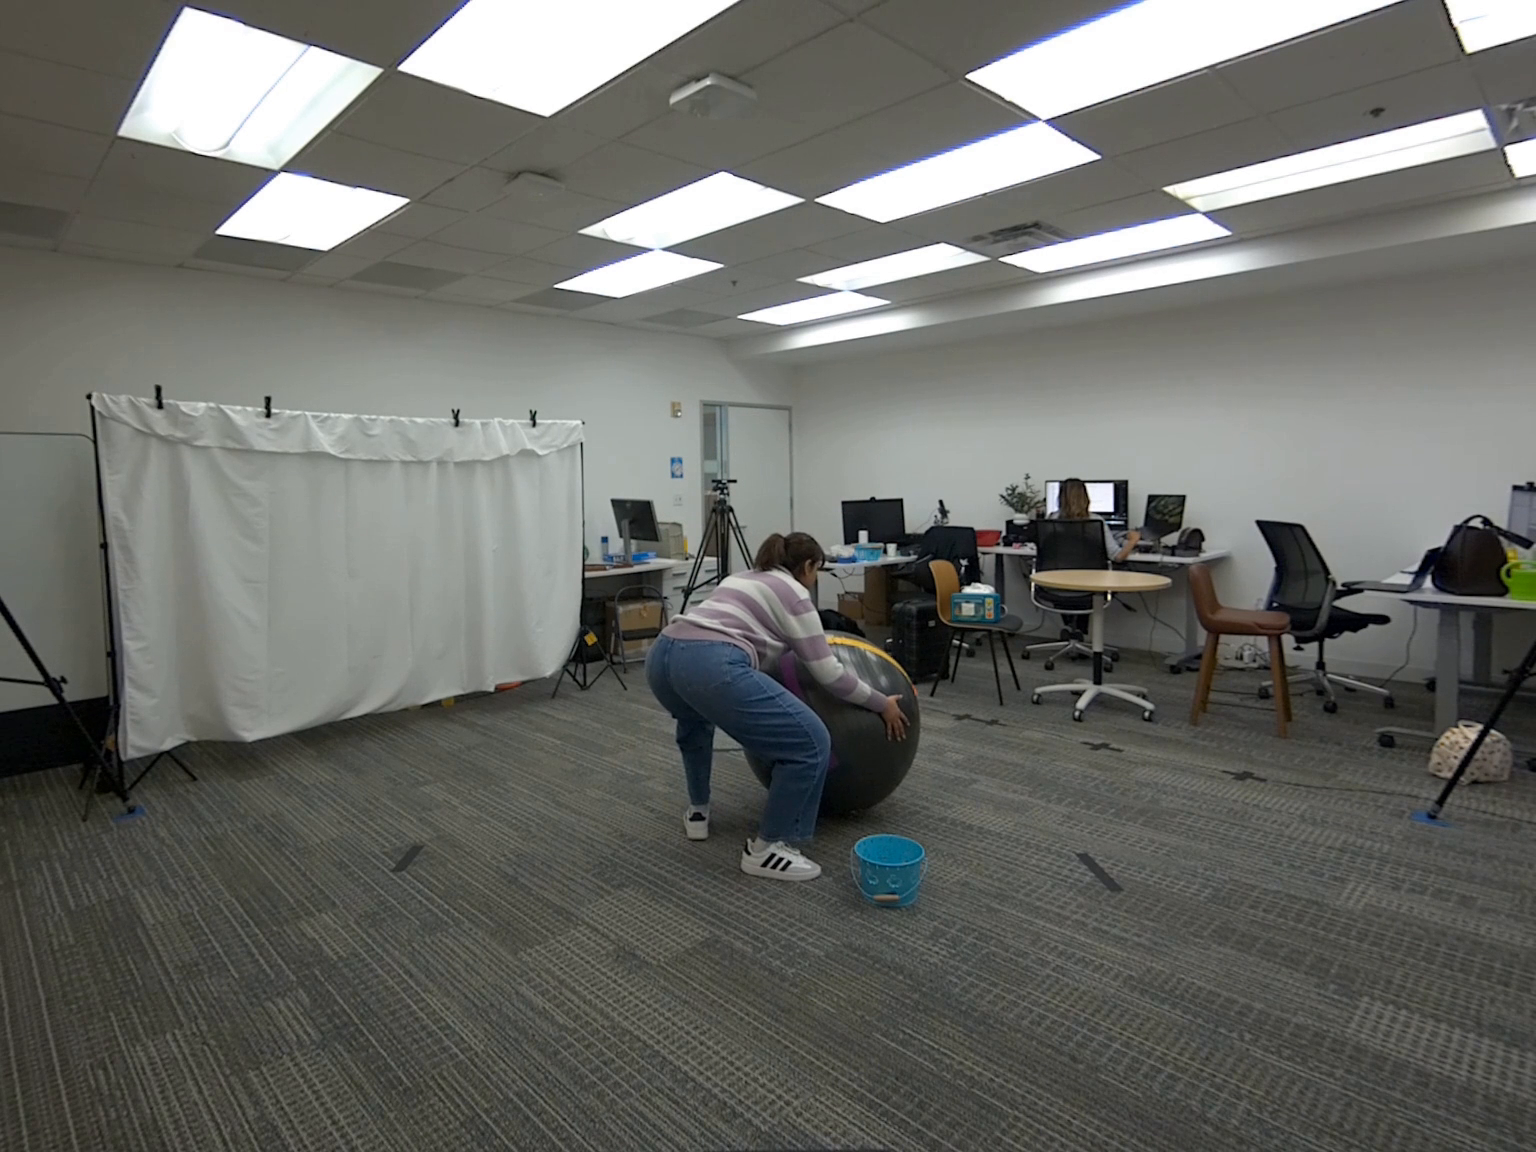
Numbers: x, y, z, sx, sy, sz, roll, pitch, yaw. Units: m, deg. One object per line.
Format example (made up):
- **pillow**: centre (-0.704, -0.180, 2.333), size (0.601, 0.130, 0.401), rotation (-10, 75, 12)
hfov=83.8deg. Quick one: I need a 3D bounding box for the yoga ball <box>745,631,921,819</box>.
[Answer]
- **yoga ball**: centre (0.268, 0.620, 3.604), size (0.757, 0.755, 0.762), rotation (-1, 5, -2)
